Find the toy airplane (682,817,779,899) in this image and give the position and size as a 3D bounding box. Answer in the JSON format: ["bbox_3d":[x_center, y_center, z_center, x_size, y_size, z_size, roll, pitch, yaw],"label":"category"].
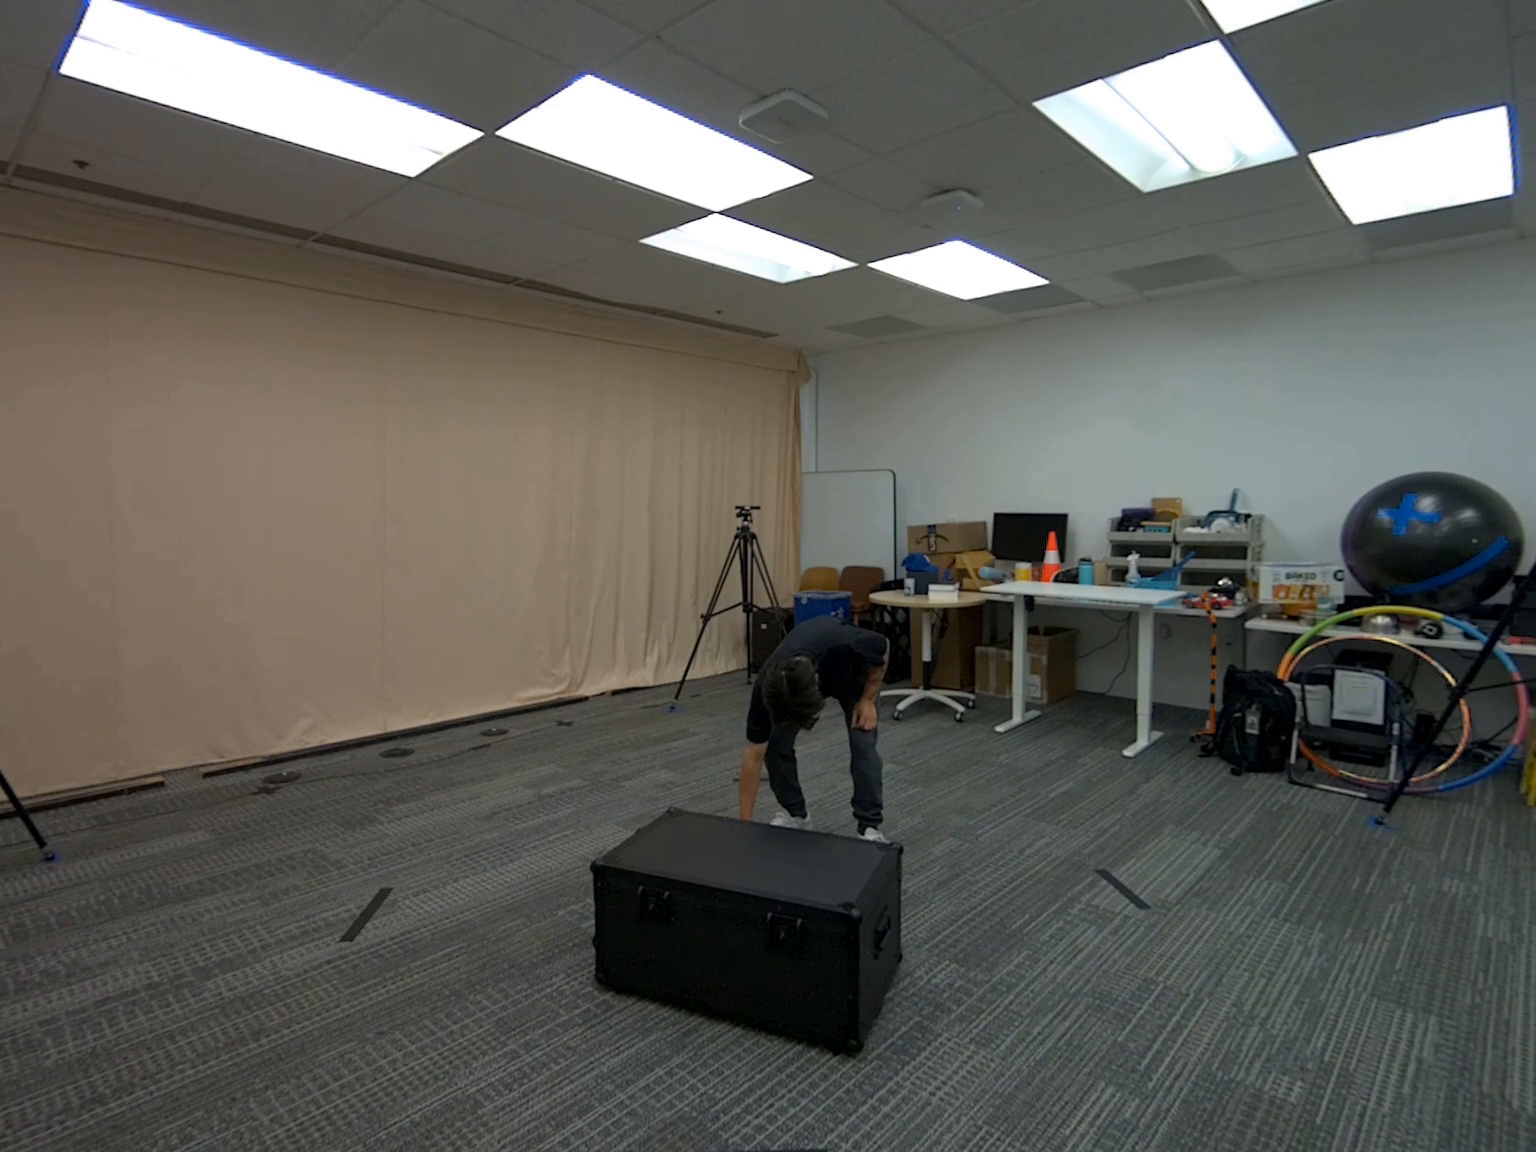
[{"bbox_3d":[-0.143,1.053,3.190,0.268,0.156,0.243,4,7,43],"label":"toy airplane"}]
